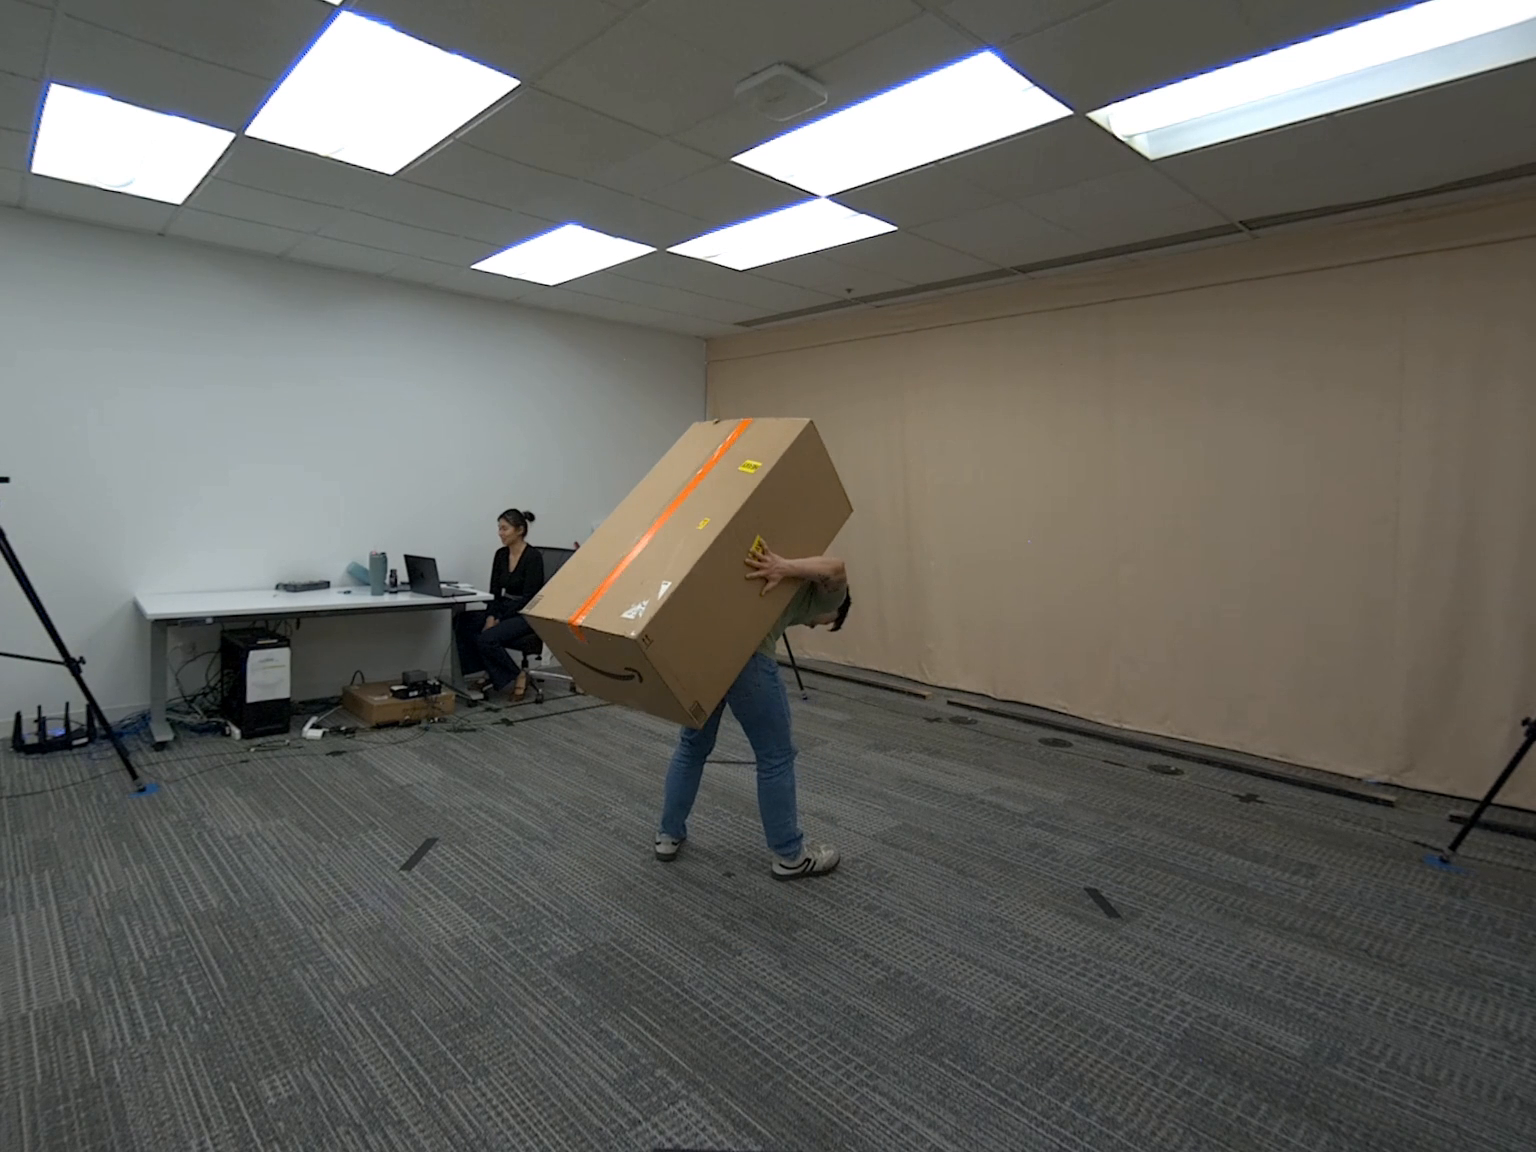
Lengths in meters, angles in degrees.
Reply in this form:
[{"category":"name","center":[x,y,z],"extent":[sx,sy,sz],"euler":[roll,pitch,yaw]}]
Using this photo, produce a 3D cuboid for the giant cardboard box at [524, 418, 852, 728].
[{"category":"giant cardboard box","center":[-0.245,-0.062,2.909],"extent":[0.592,0.414,1.028],"euler":[6,48,42]}]
